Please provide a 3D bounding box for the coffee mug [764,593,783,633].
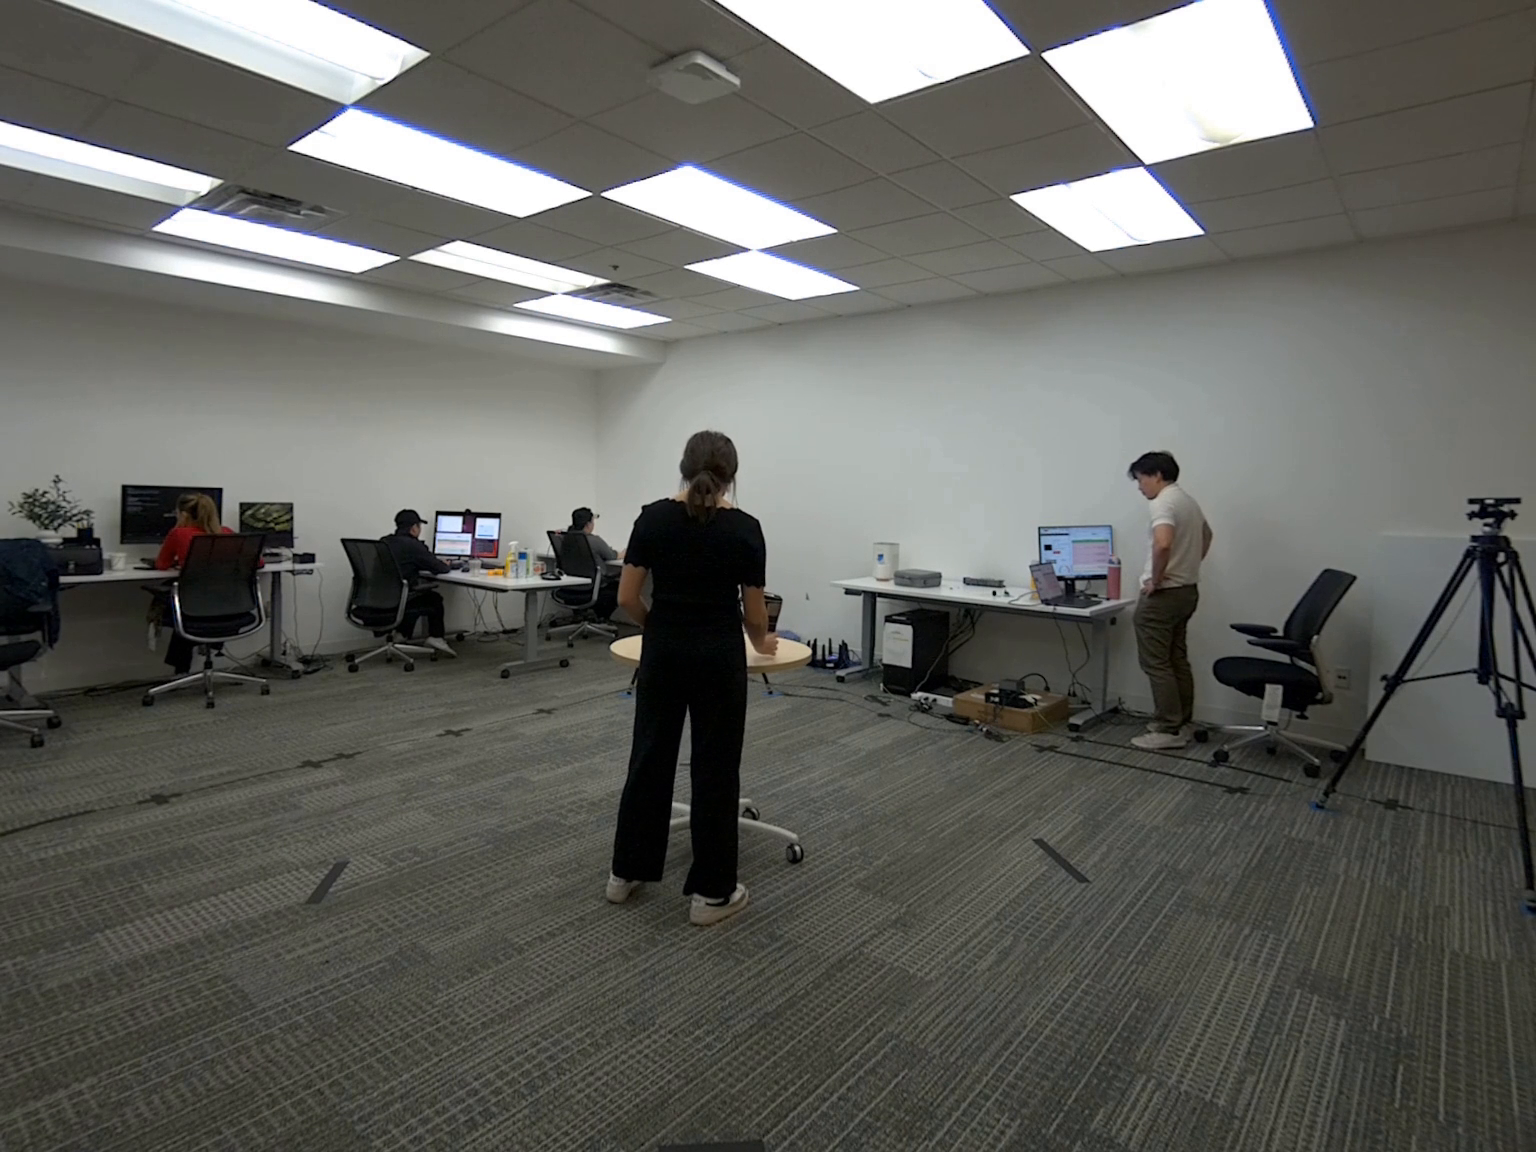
[{"bbox_3d":[-0.038,0.162,3.056,0.118,0.202,0.091,8,7,-31],"label":"coffee mug"}]
